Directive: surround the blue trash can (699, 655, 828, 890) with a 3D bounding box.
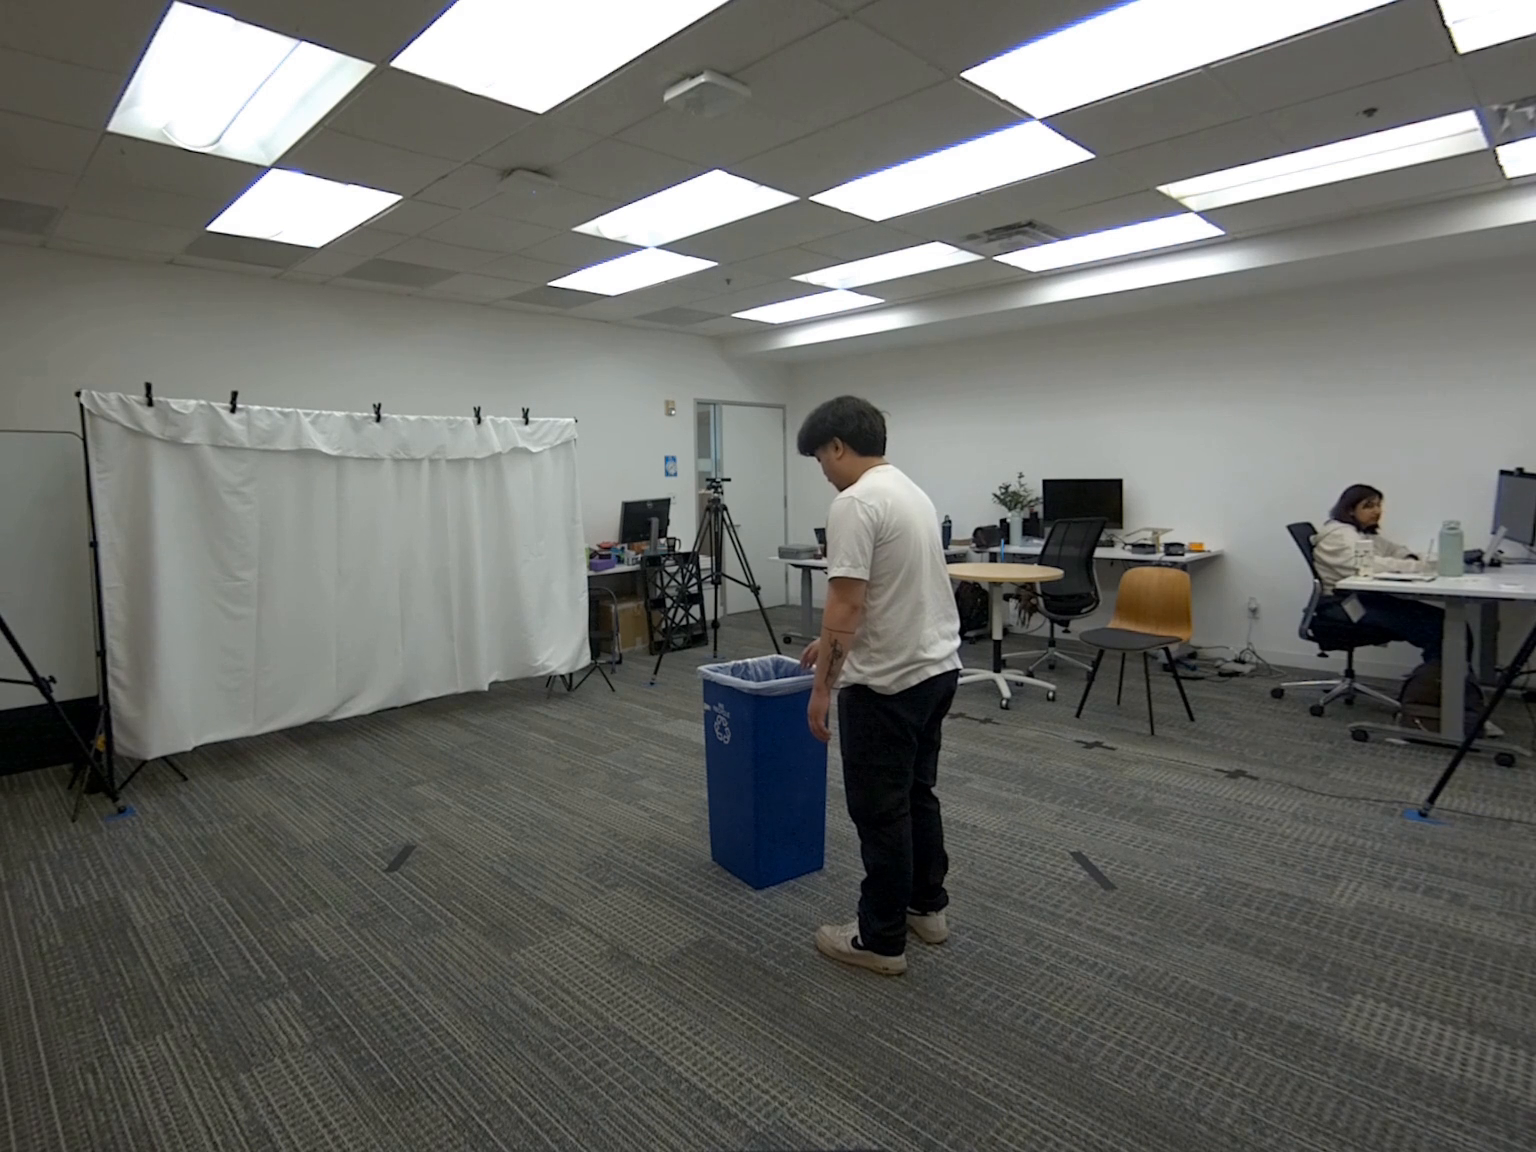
[{"bbox_3d":[0.000,0.686,3.070,0.368,0.711,0.385,-4,5,-35],"label":"blue trash can"}]
